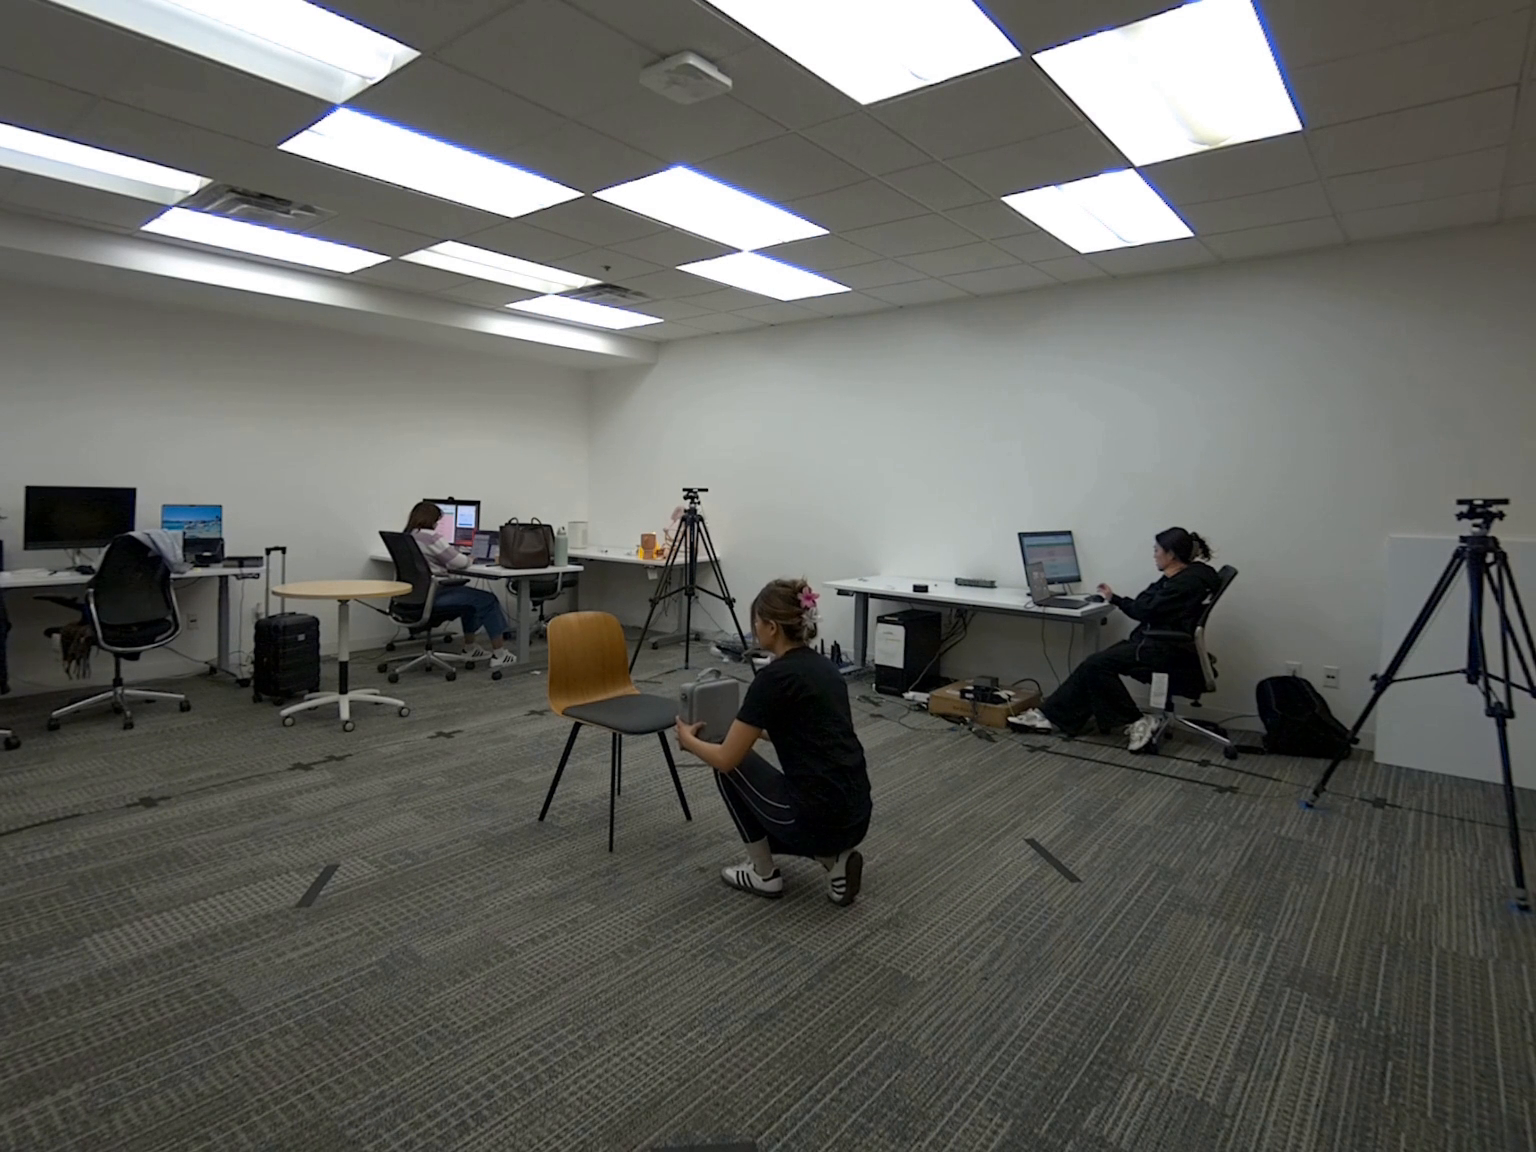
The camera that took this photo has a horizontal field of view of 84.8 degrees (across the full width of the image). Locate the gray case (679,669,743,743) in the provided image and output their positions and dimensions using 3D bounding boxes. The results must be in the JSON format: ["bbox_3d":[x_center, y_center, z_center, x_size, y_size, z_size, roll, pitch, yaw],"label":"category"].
[{"bbox_3d":[-0.226,0.507,3.172,0.107,0.261,0.249,-2,-2,37],"label":"gray case"}]
